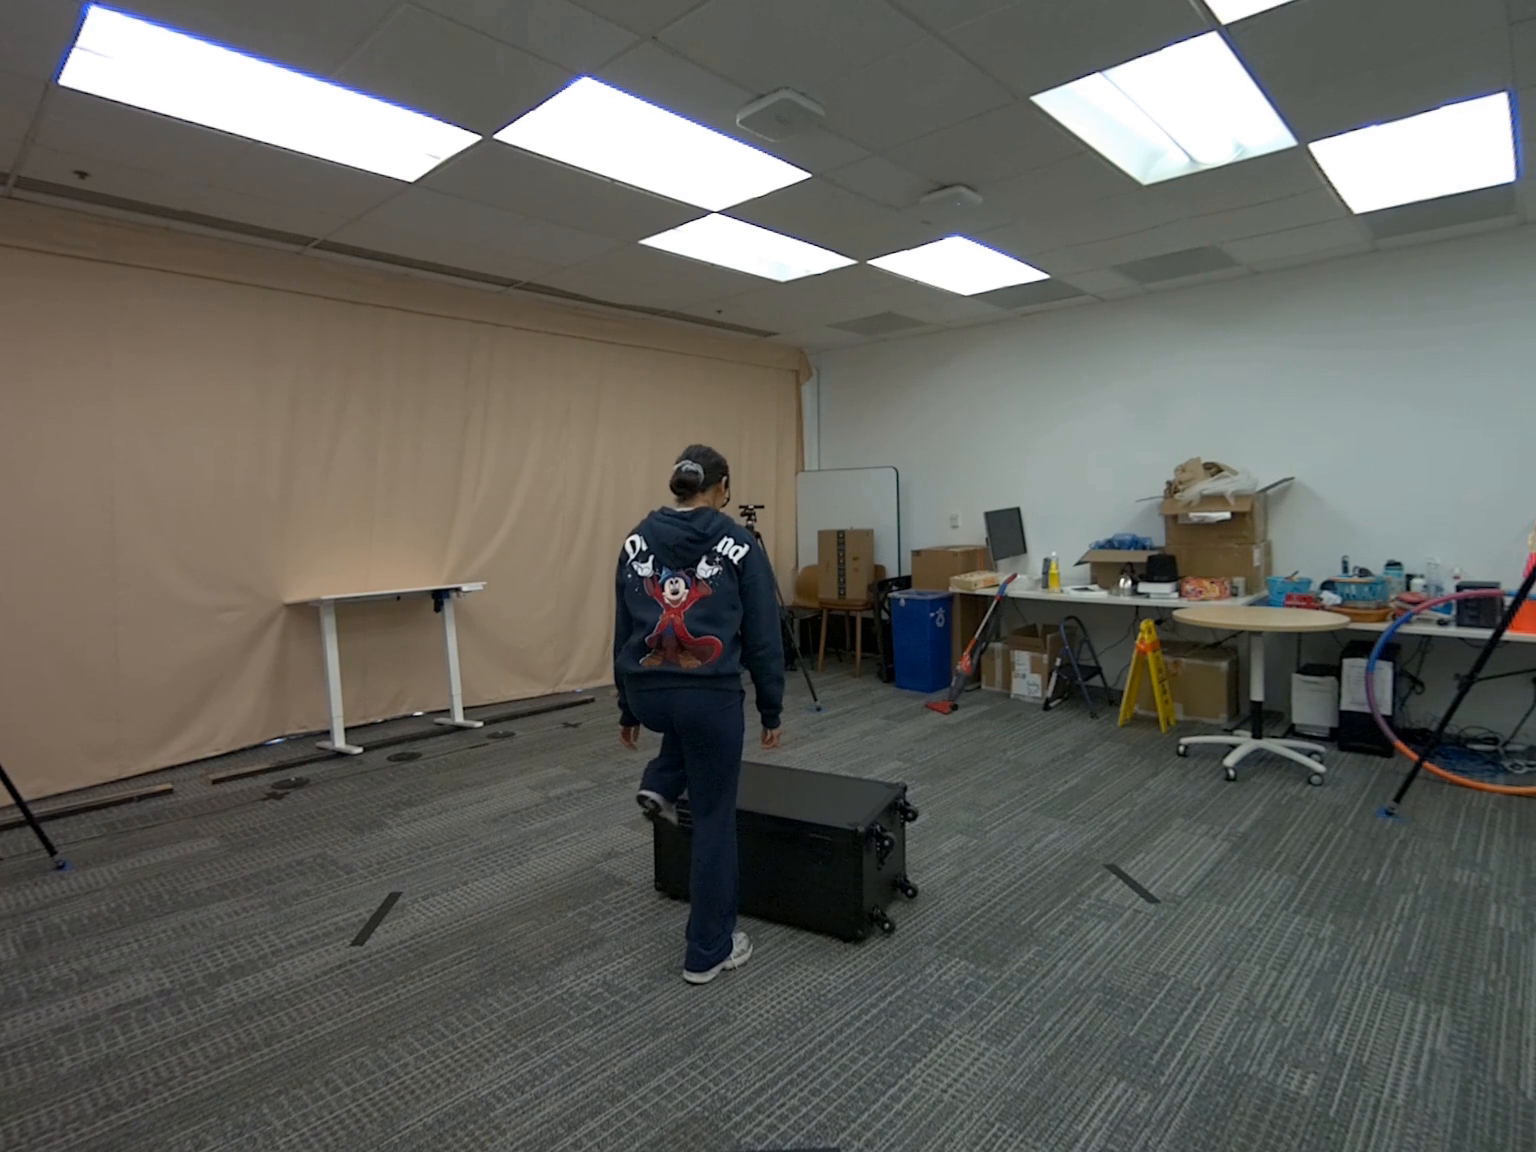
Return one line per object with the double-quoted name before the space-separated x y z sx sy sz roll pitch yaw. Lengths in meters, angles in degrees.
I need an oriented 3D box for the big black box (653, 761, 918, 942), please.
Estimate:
"big black box" 0.078 0.948 3.003 0.884 0.395 0.509 1 5 27
